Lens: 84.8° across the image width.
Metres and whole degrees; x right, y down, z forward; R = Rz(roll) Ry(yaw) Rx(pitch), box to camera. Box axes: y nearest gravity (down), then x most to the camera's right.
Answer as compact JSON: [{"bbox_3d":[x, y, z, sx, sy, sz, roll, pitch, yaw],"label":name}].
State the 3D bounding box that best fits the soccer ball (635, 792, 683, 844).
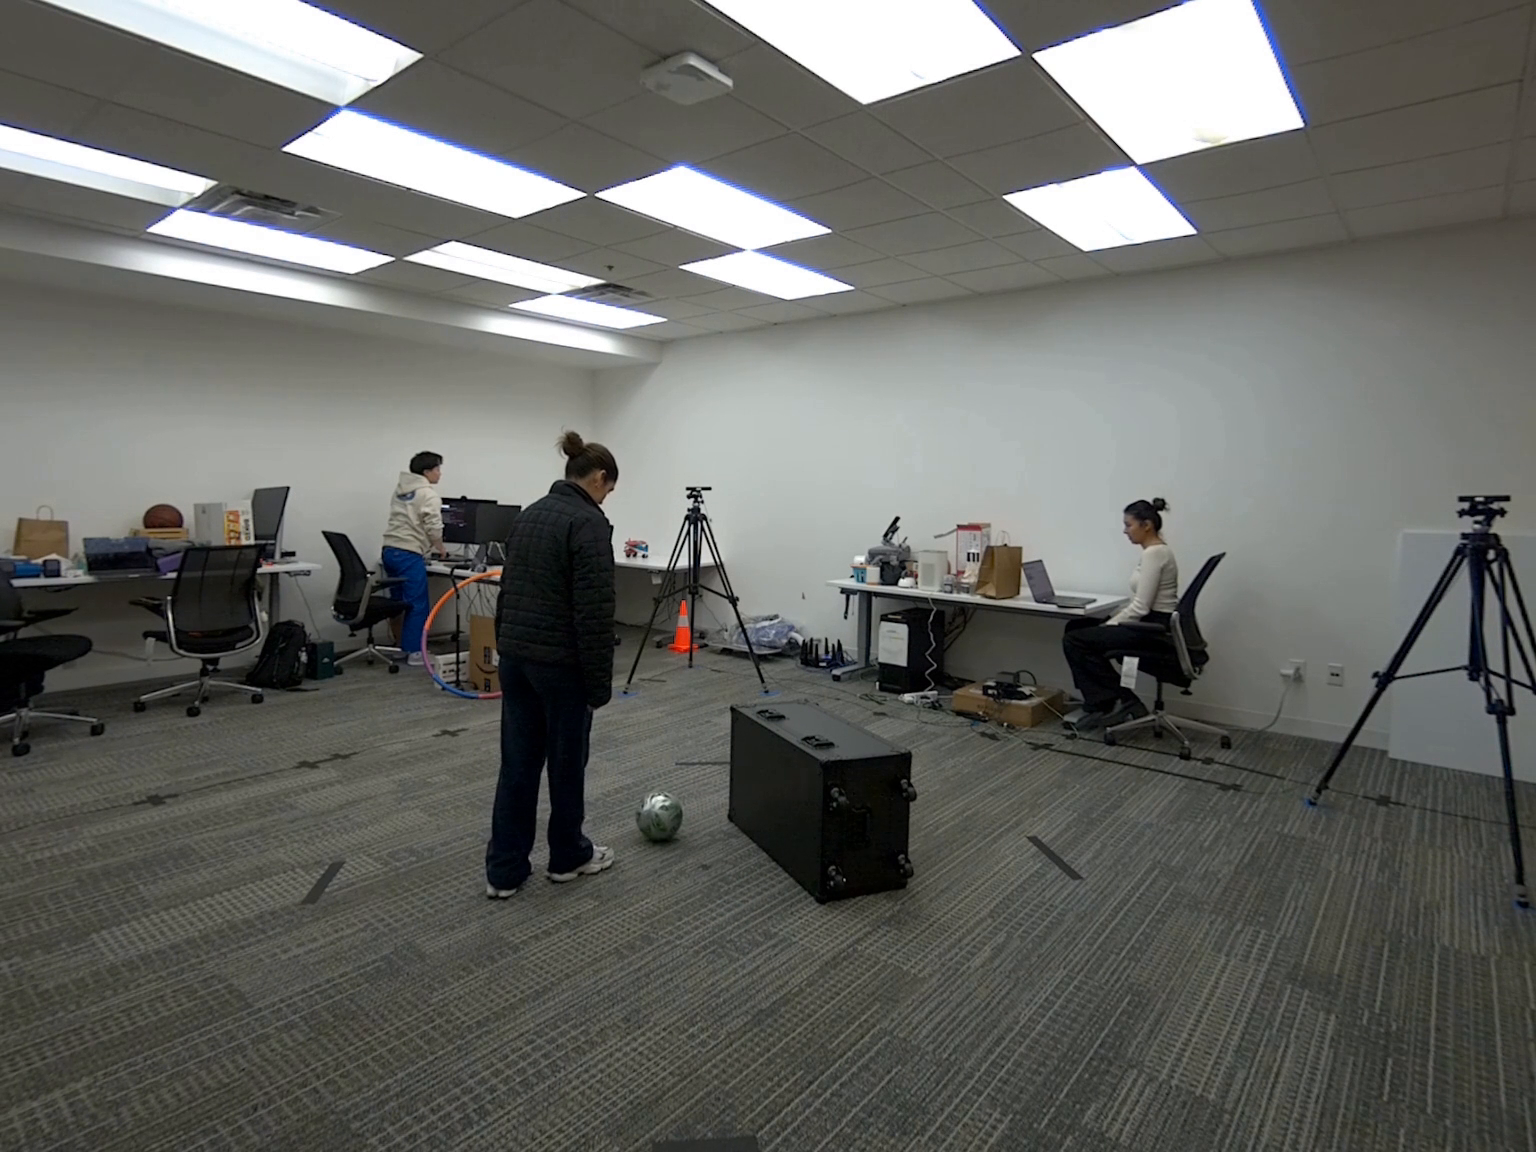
[{"bbox_3d":[-0.438,0.943,3.363,0.187,0.187,0.188,1,4,-2],"label":"soccer ball"}]
